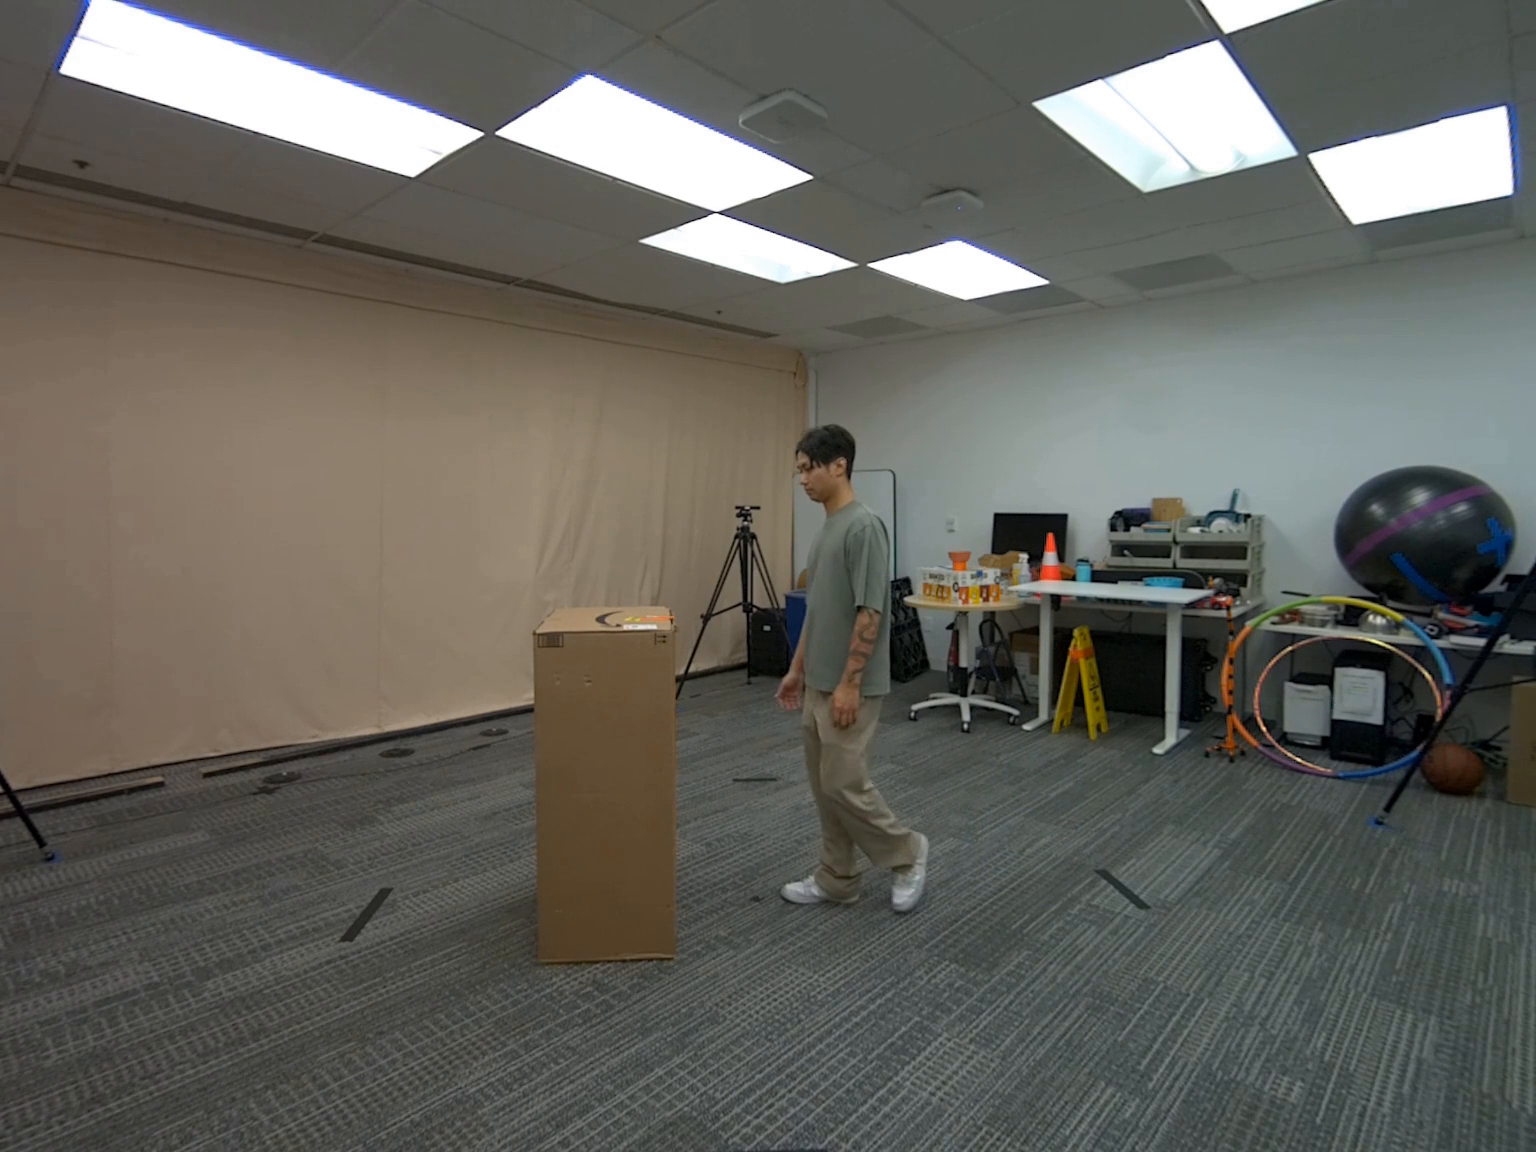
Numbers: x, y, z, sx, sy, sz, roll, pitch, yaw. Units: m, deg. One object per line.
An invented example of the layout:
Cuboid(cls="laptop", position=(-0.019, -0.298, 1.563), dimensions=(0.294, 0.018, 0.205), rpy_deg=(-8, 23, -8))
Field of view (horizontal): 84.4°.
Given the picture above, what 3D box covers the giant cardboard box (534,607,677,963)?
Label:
Cuboid(cls="giant cardboard box", position=(-0.530, 0.654, 2.836), dimensions=(0.423, 1.024, 0.582), rpy_deg=(-1, 3, -7))
